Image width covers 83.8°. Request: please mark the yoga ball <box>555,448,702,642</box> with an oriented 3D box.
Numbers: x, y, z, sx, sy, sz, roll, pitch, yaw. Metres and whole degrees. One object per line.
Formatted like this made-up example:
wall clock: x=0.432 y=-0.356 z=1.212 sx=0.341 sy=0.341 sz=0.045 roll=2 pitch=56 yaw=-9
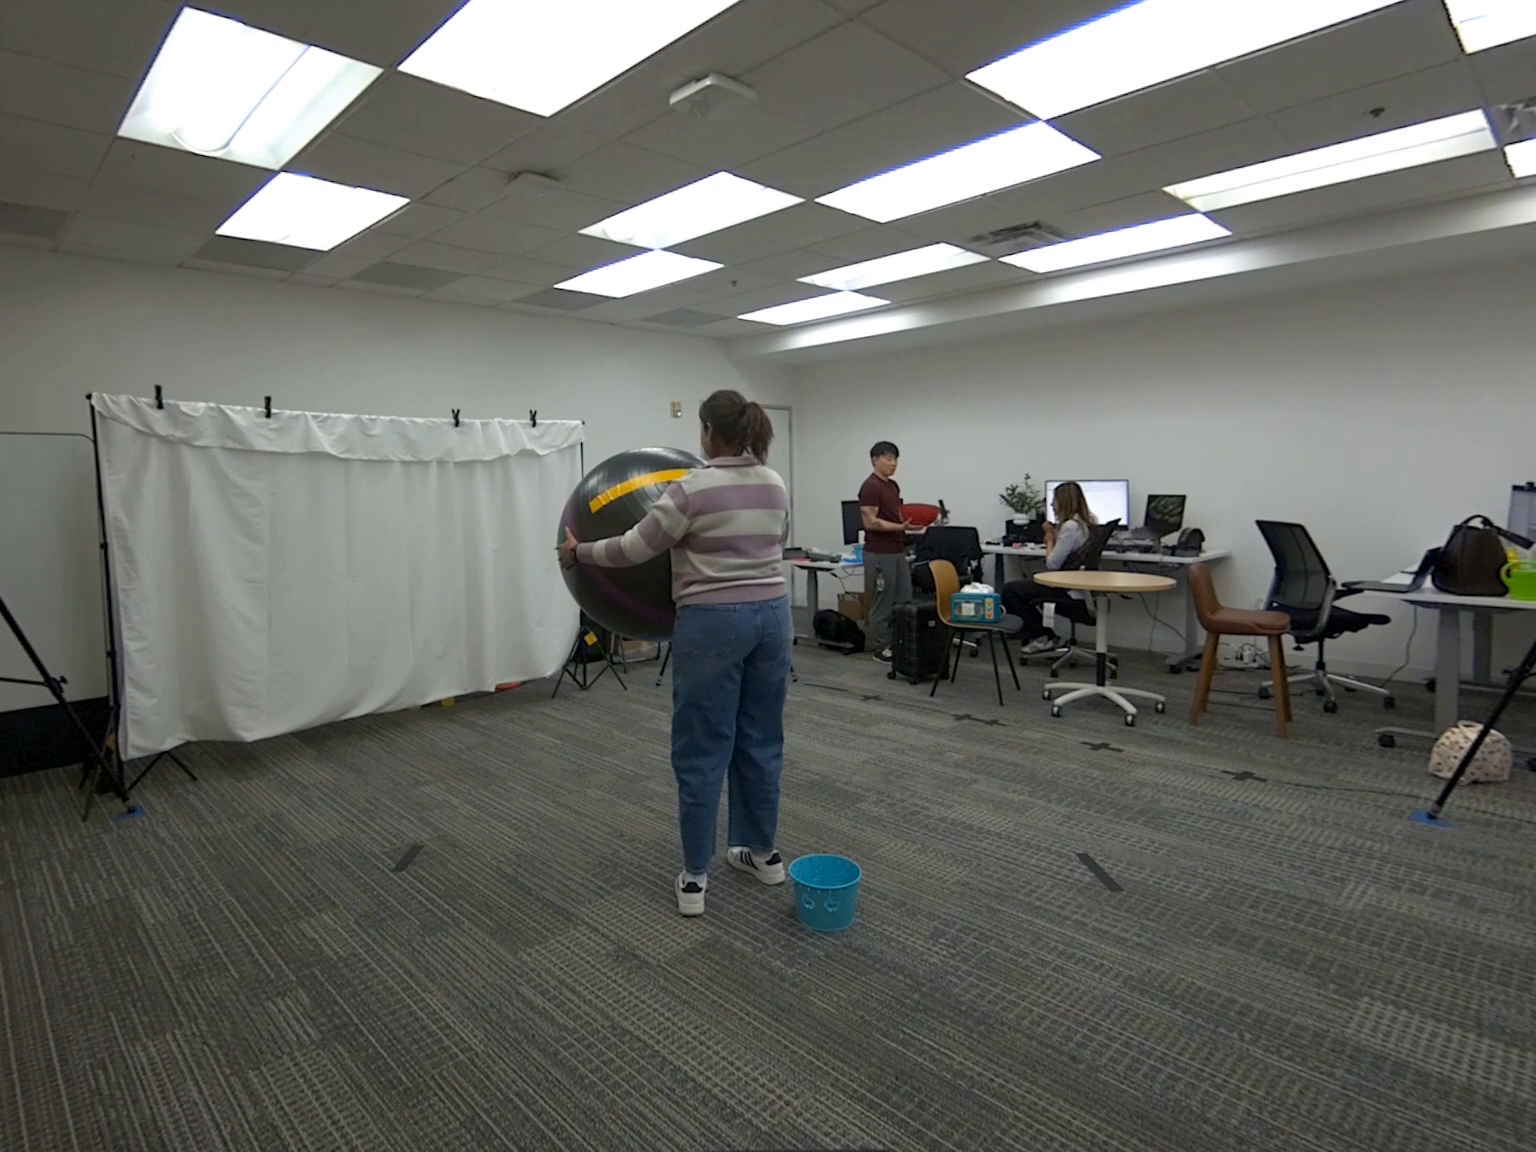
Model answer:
yoga ball: x=-0.443 y=-0.120 z=3.339 sx=0.757 sy=0.755 sz=0.762 roll=-1 pitch=5 yaw=-2
